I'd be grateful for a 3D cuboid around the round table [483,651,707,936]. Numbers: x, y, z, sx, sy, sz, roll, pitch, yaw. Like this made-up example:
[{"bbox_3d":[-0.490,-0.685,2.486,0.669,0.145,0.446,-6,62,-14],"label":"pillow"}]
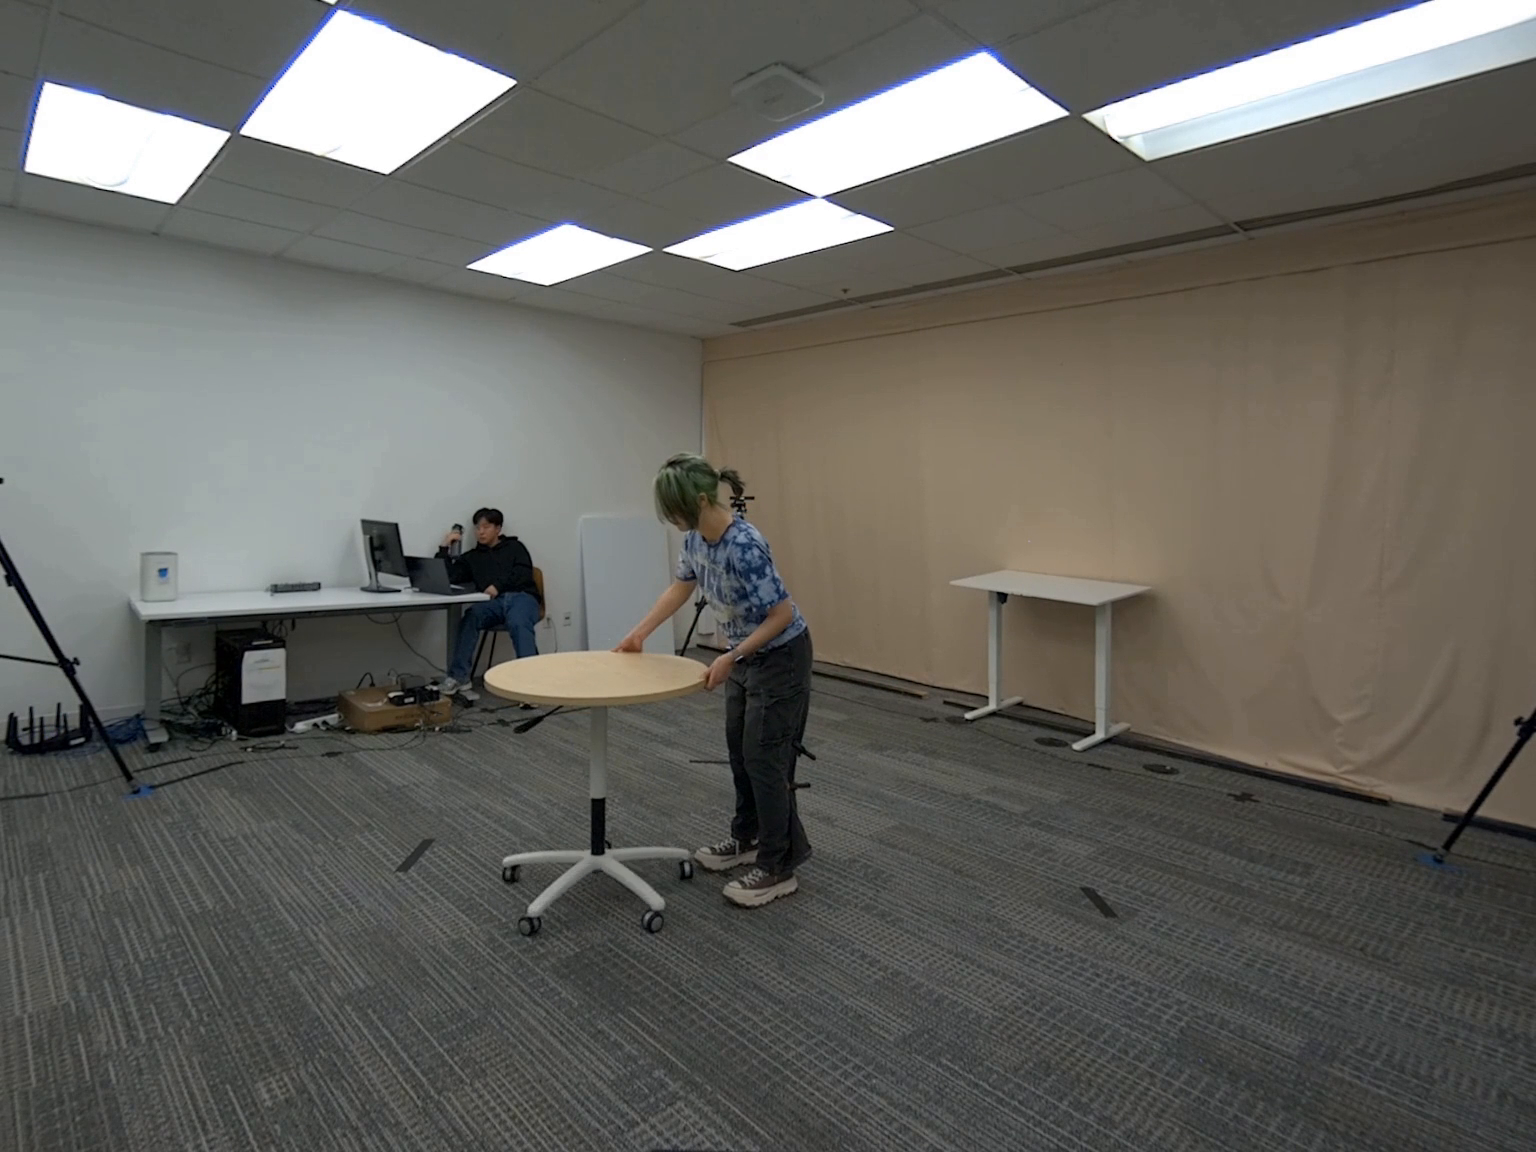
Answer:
[{"bbox_3d":[-0.601,0.725,2.915,0.763,0.792,0.766,1,4,-1],"label":"round table"}]
